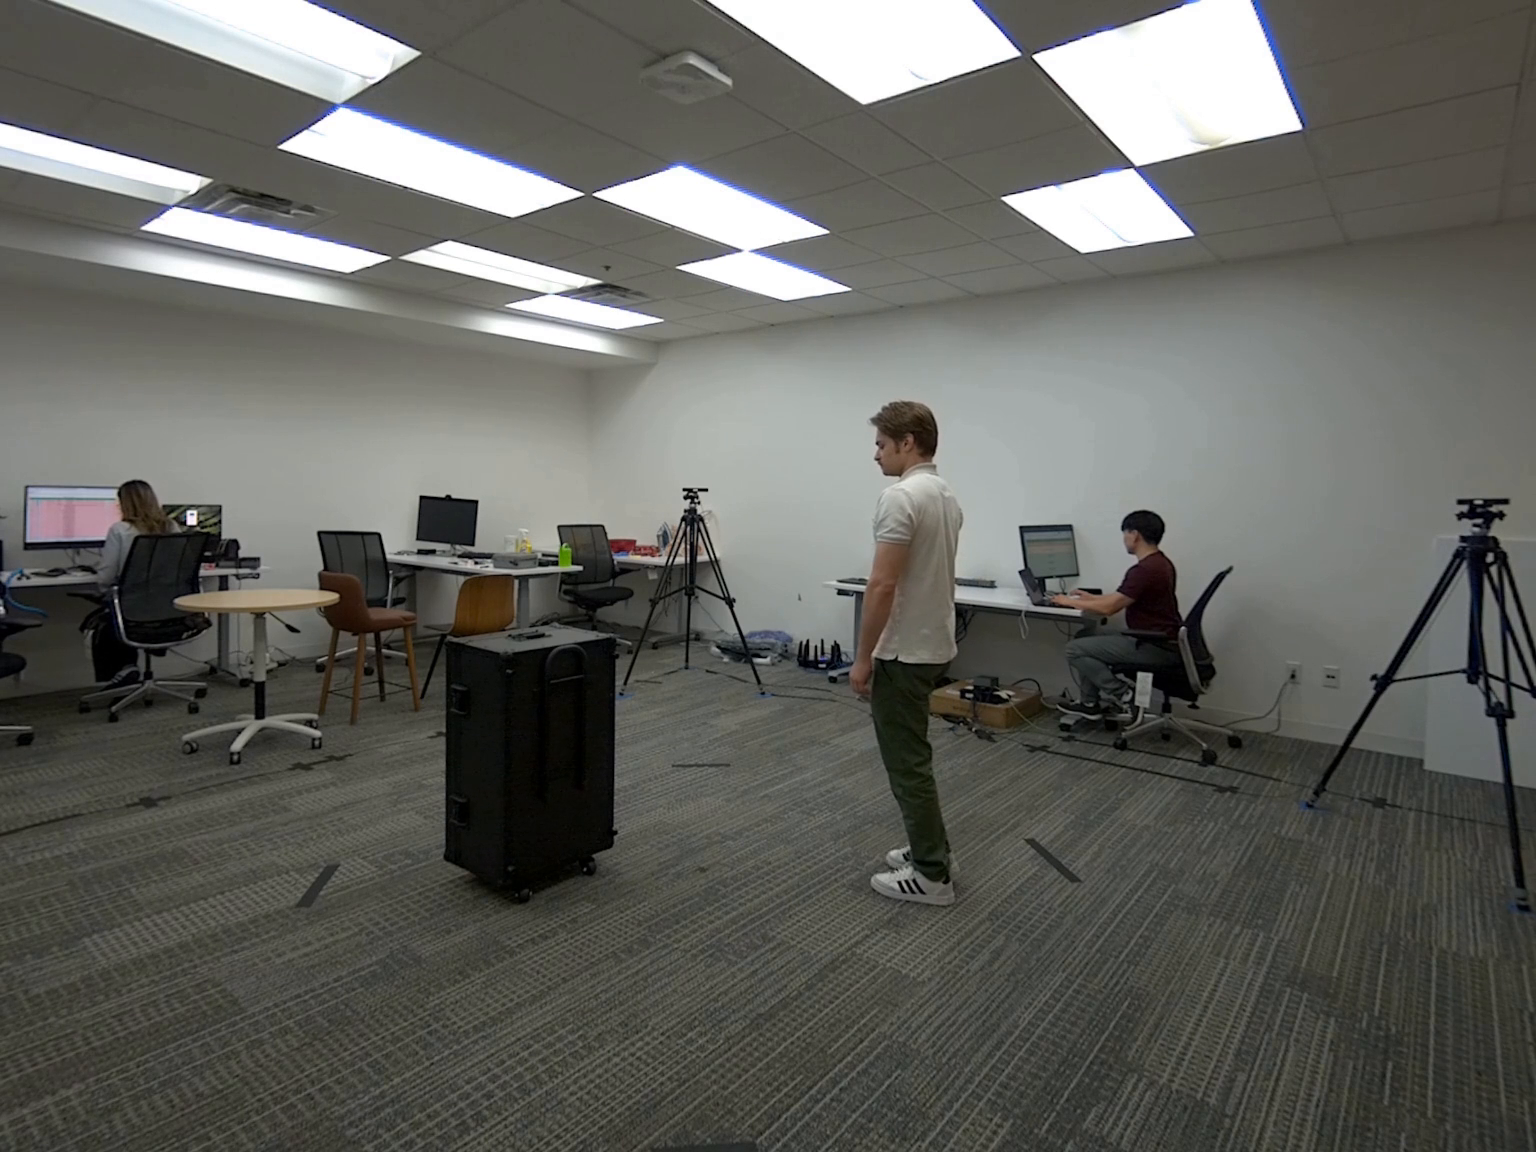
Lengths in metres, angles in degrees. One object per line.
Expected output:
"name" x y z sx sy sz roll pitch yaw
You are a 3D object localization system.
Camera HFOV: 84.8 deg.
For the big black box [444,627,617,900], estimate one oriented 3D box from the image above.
"big black box" -0.850 0.645 3.040 0.398 0.865 0.508 4 5 38
